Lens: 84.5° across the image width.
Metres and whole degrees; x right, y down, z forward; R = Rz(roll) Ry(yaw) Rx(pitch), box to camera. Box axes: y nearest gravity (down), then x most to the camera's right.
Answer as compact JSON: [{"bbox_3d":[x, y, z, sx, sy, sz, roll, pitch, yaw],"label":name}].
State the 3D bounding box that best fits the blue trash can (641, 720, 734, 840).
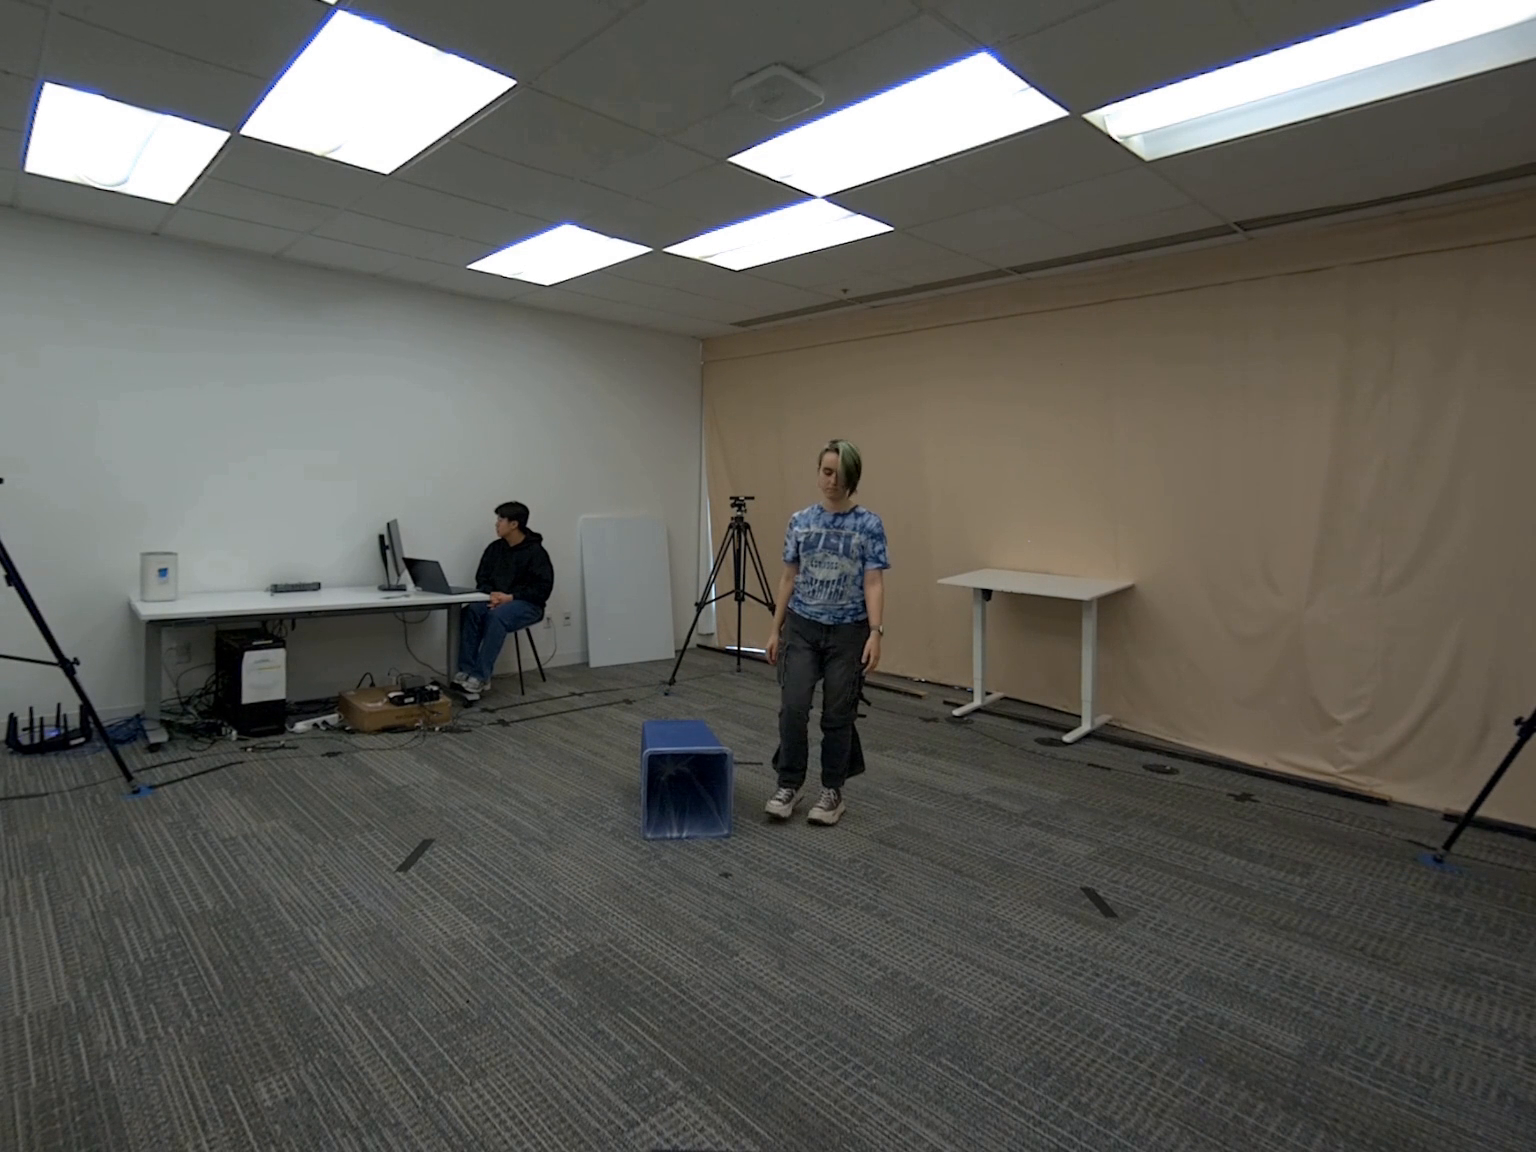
[{"bbox_3d":[-0.406,0.863,3.767,0.375,0.373,0.720,1,3,-11],"label":"blue trash can"}]
